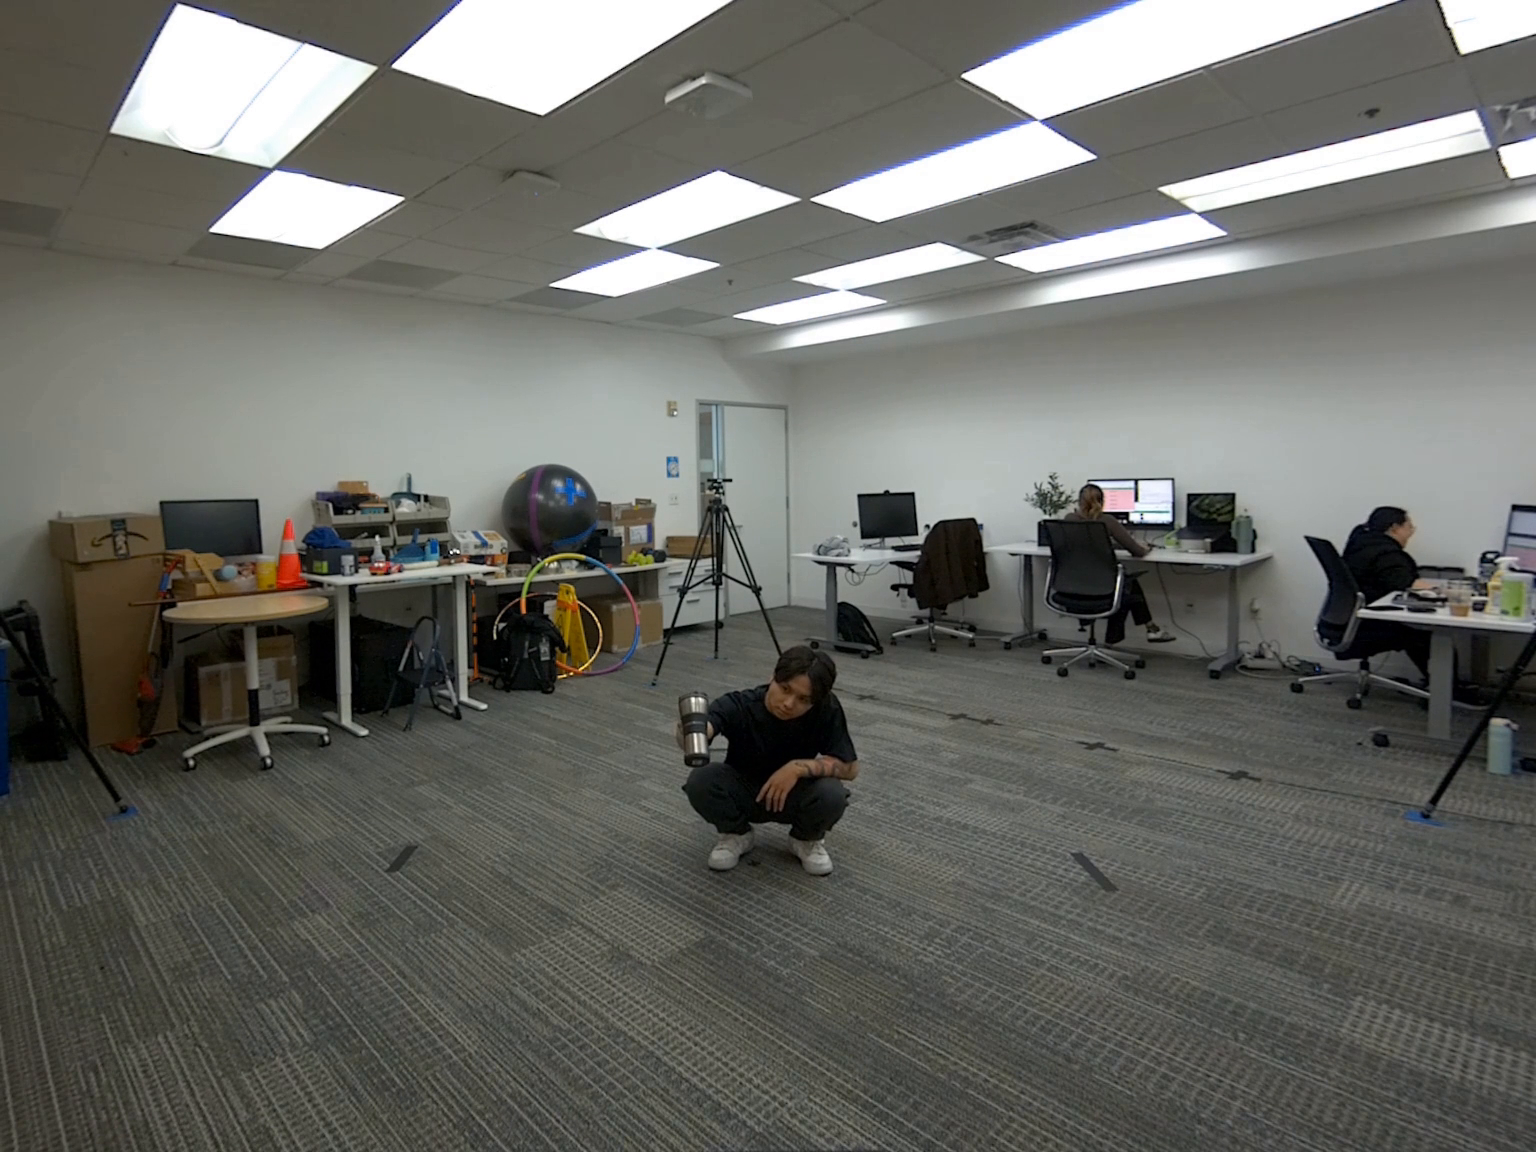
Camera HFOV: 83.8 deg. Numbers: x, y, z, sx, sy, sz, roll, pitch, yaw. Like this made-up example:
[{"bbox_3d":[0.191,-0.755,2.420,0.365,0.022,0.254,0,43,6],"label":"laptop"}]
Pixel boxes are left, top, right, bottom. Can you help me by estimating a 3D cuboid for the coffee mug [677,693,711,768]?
[{"bbox_3d":[-0.192,0.445,2.417,0.119,0.209,0.087,13,-41,-20],"label":"coffee mug"}]
